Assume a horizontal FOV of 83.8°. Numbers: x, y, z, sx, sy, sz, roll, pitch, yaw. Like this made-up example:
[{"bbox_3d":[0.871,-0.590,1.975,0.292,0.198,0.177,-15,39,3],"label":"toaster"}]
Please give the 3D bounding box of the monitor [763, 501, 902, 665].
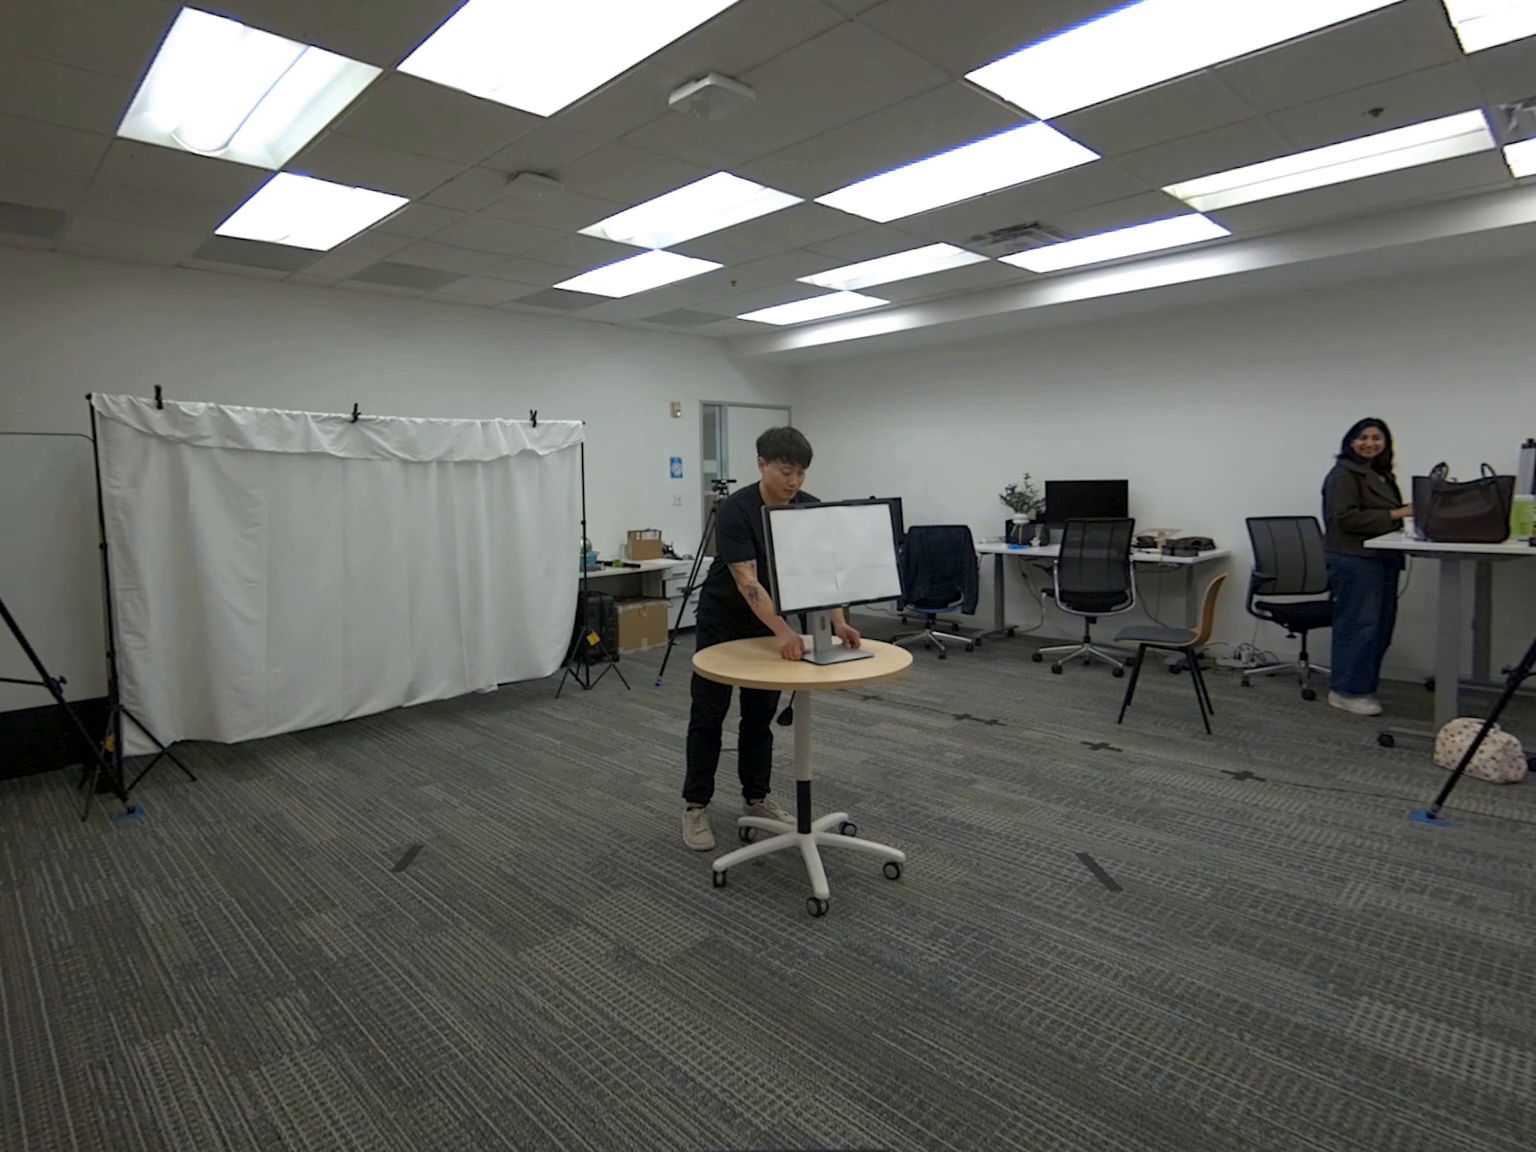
[{"bbox_3d":[0.217,0.016,2.972,0.526,0.519,0.193,-6,8,-34],"label":"monitor"}]
